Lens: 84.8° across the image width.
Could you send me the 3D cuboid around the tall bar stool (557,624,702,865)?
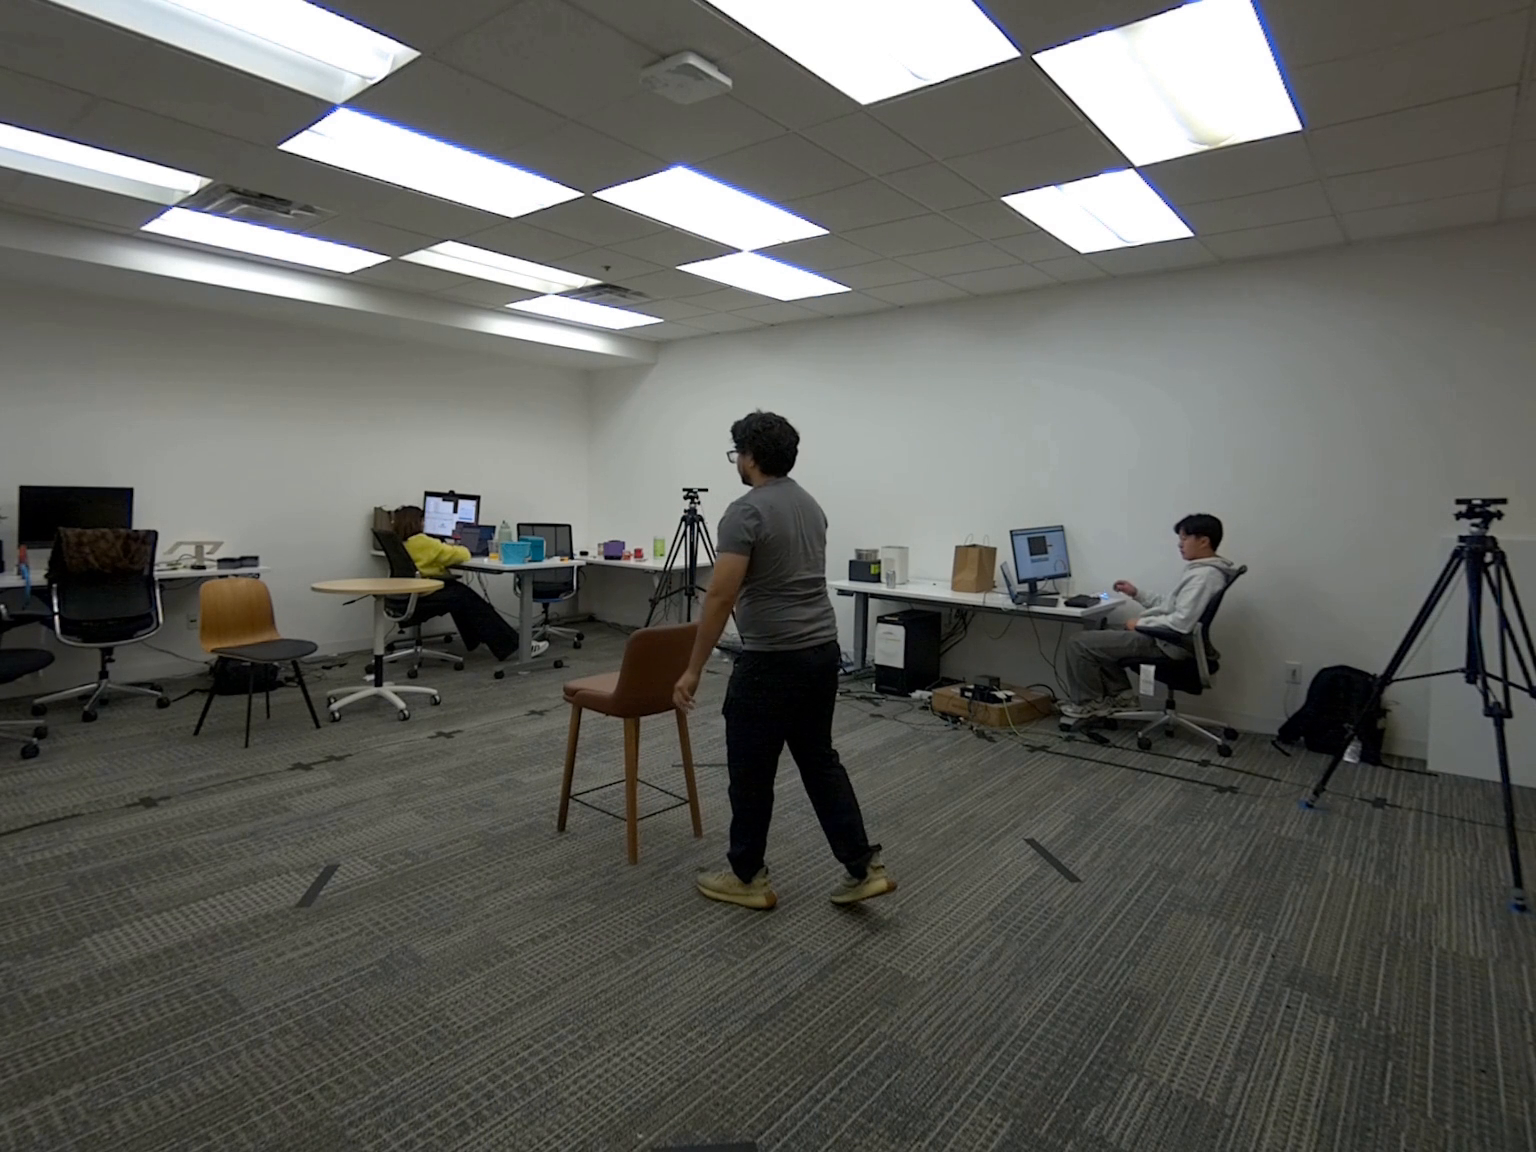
[{"bbox_3d":[-0.550,0.601,3.400,0.484,0.886,0.442,7,6,41],"label":"tall bar stool"}]
